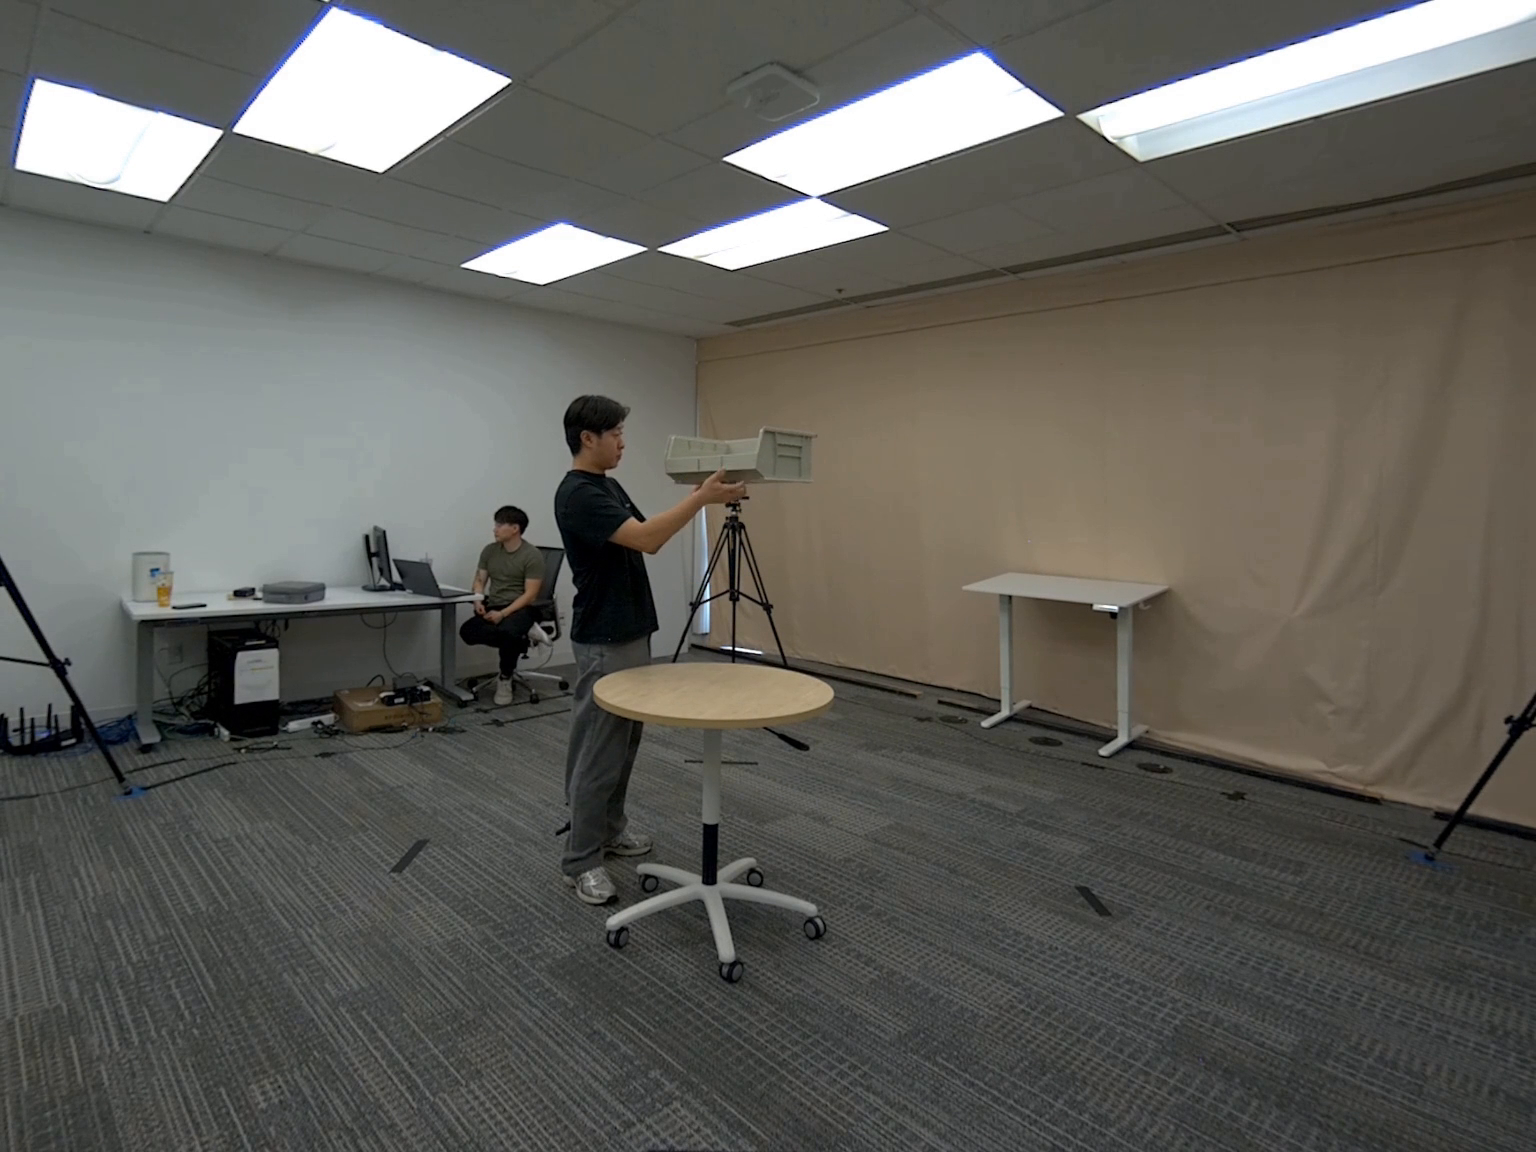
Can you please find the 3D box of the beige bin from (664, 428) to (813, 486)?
[{"bbox_3d":[-0.105,-0.422,3.057,0.432,0.189,0.369,2,3,36],"label":"beige bin"}]
